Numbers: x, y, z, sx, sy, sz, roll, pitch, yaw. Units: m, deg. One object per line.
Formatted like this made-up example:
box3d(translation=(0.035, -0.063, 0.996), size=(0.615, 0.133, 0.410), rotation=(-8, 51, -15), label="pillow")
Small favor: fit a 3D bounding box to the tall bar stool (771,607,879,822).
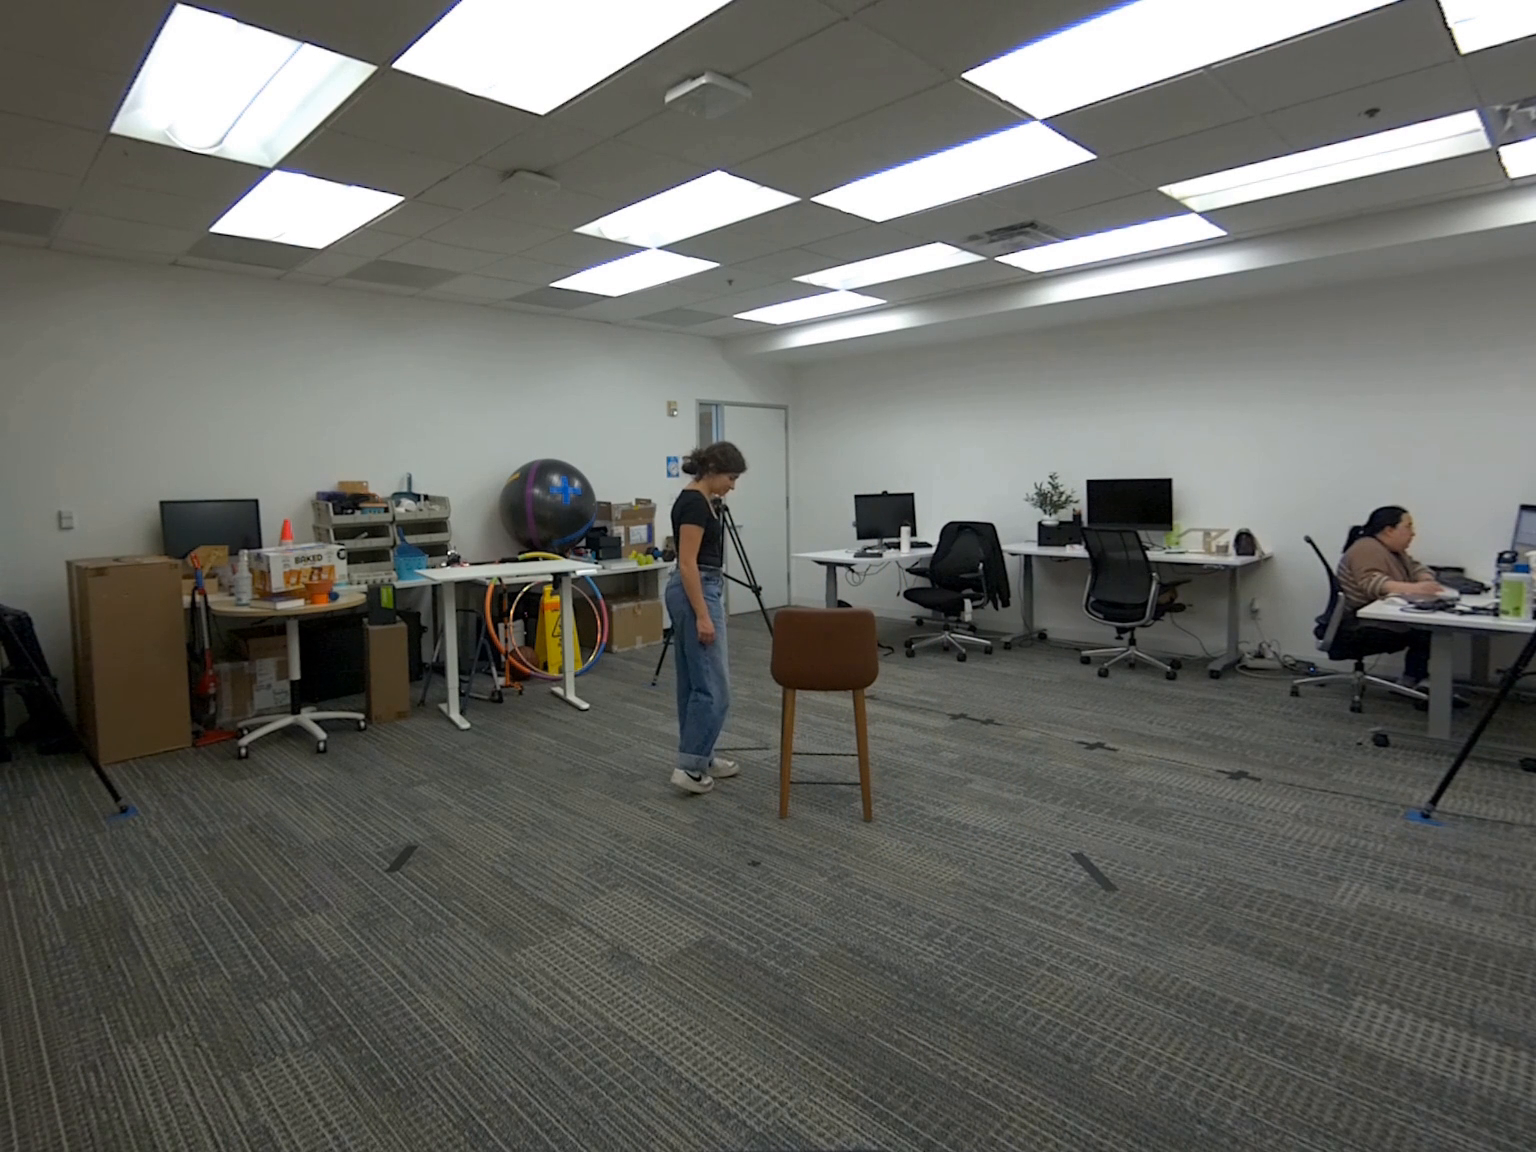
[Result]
box3d(translation=(0.246, 0.542, 3.678), size=(0.460, 0.885, 0.467), rotation=(0, 6, 6), label="tall bar stool")
